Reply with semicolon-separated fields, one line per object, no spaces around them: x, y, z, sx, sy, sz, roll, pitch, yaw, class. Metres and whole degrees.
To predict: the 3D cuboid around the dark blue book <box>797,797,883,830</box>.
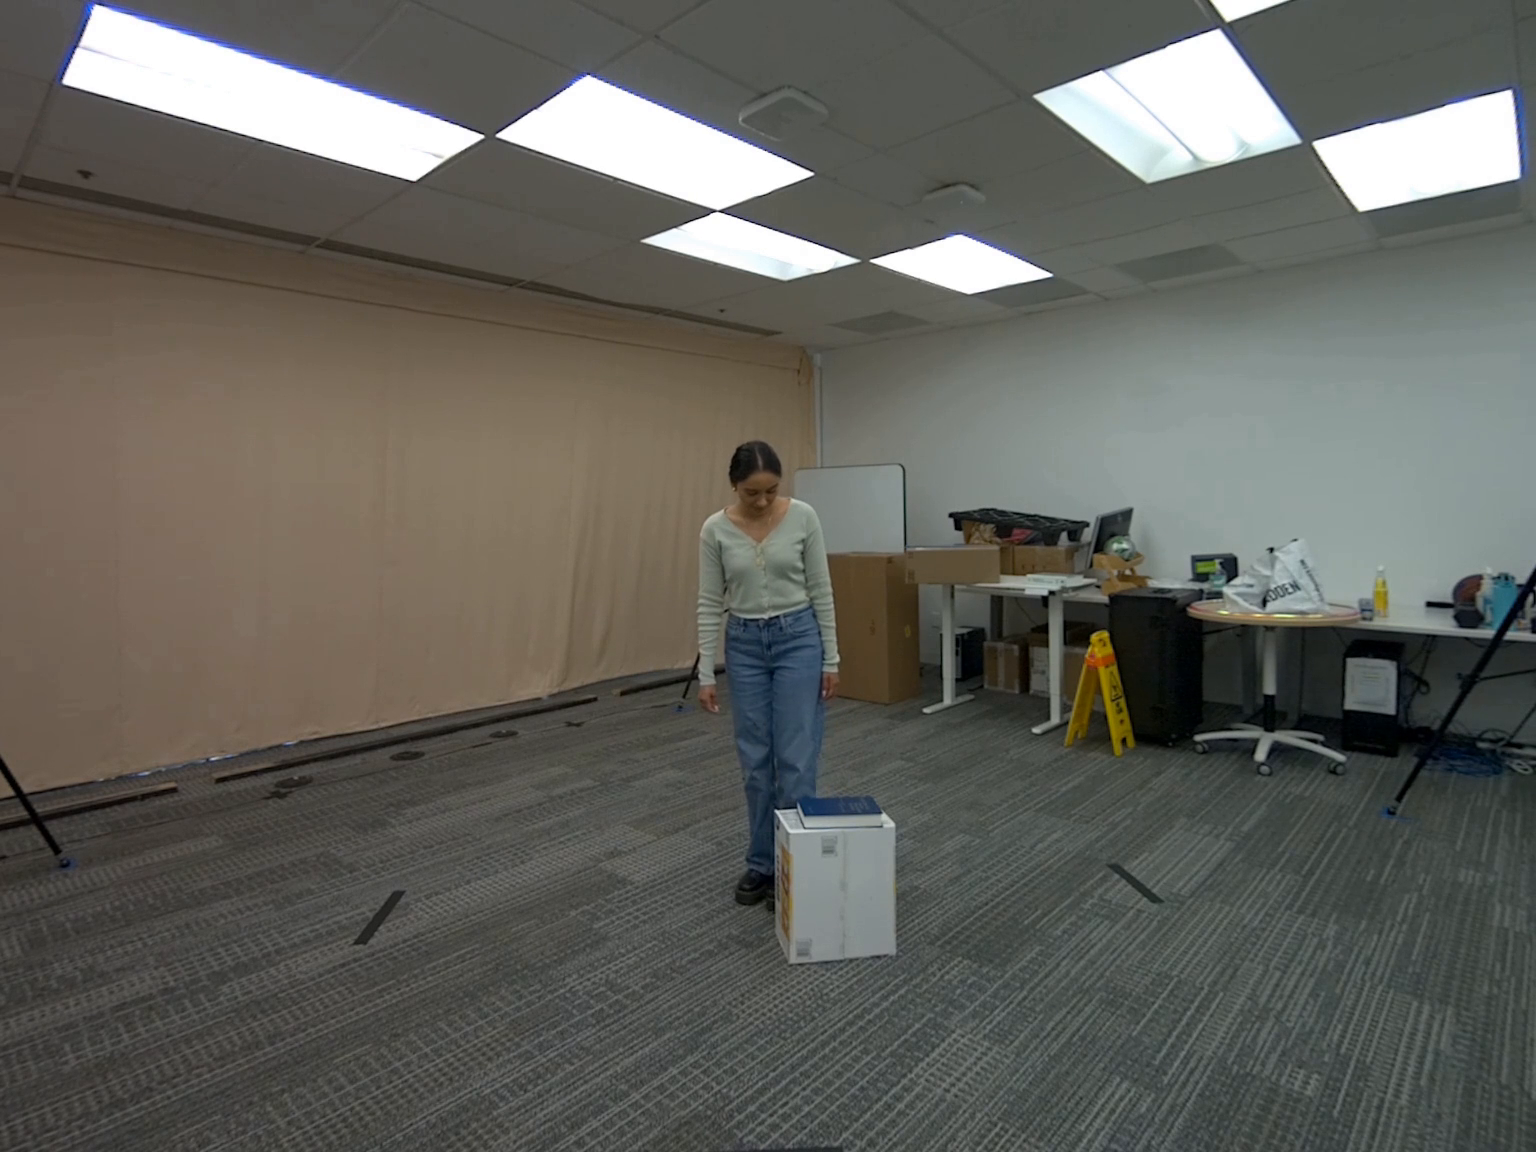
0.229;0.740;2.642;0.244;0.045;0.164;-1;4;-3;dark blue book
